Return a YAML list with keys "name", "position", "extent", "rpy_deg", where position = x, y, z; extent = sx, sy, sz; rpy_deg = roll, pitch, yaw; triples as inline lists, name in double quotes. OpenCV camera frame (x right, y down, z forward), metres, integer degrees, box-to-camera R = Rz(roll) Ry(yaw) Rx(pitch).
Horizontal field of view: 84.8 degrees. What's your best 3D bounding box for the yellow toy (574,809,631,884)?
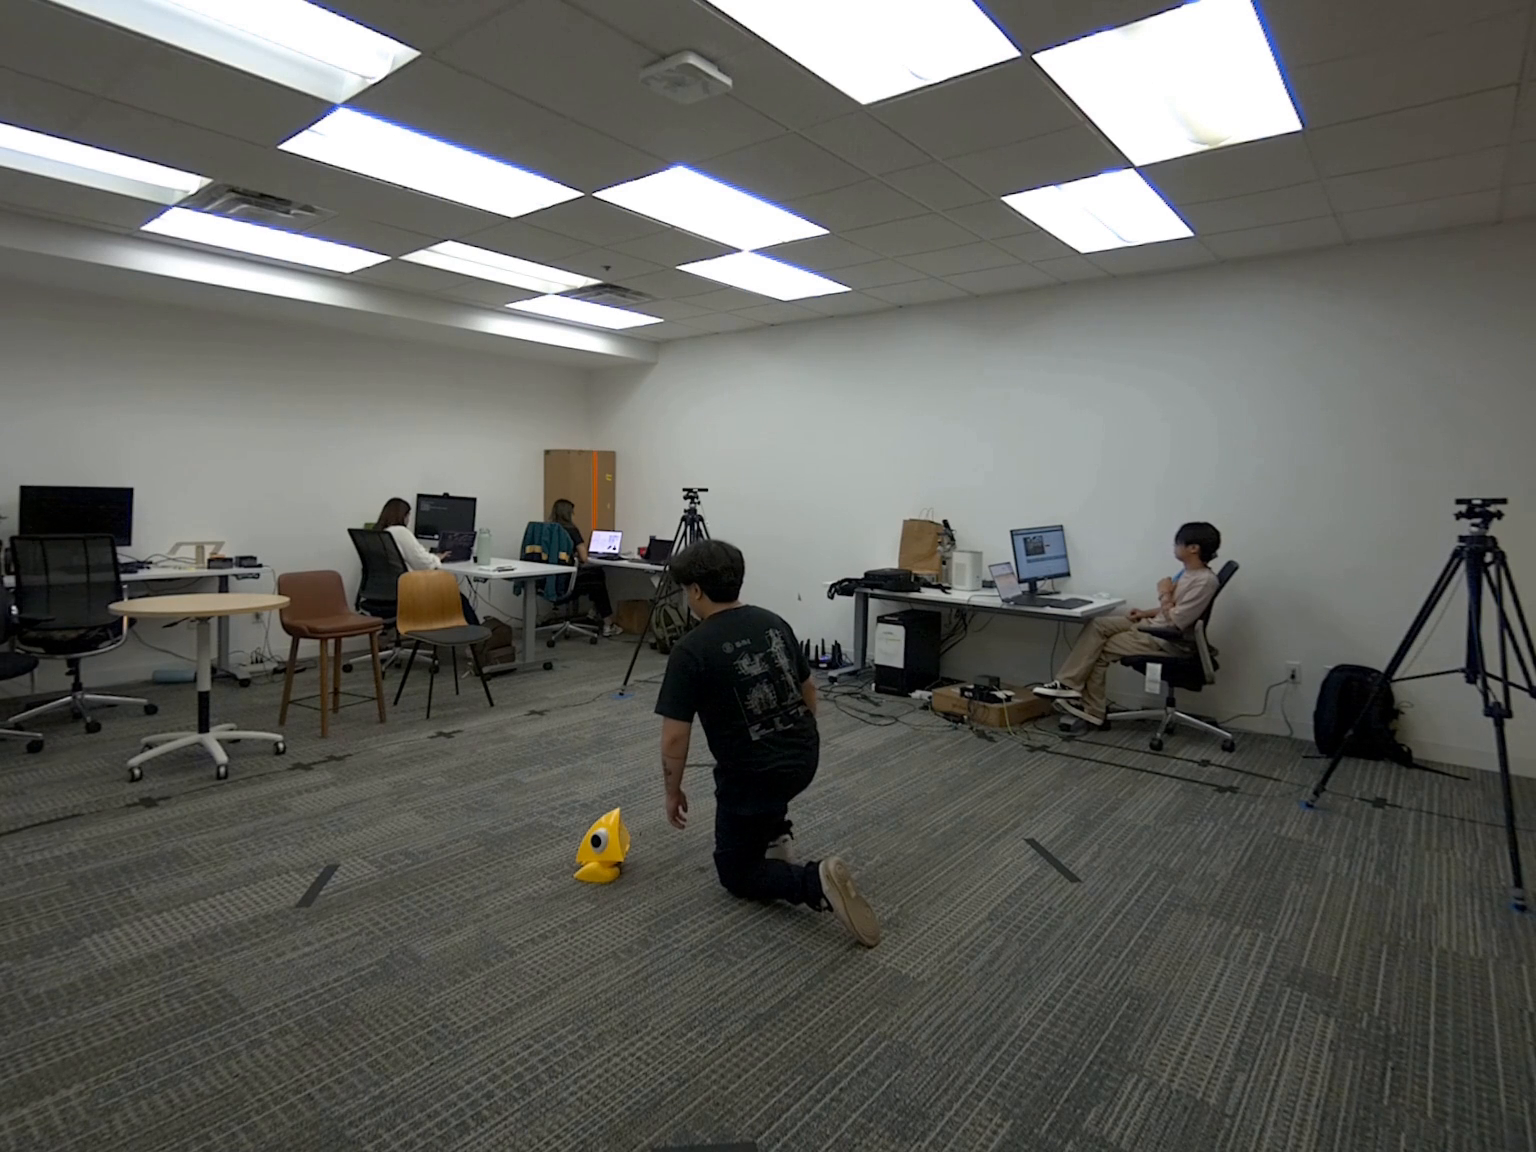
- name: "yellow toy"
  position: [-0.622, 0.956, 3.090]
  extent: [0.193, 0.230, 0.205]
  rpy_deg: [2, 3, -1]
